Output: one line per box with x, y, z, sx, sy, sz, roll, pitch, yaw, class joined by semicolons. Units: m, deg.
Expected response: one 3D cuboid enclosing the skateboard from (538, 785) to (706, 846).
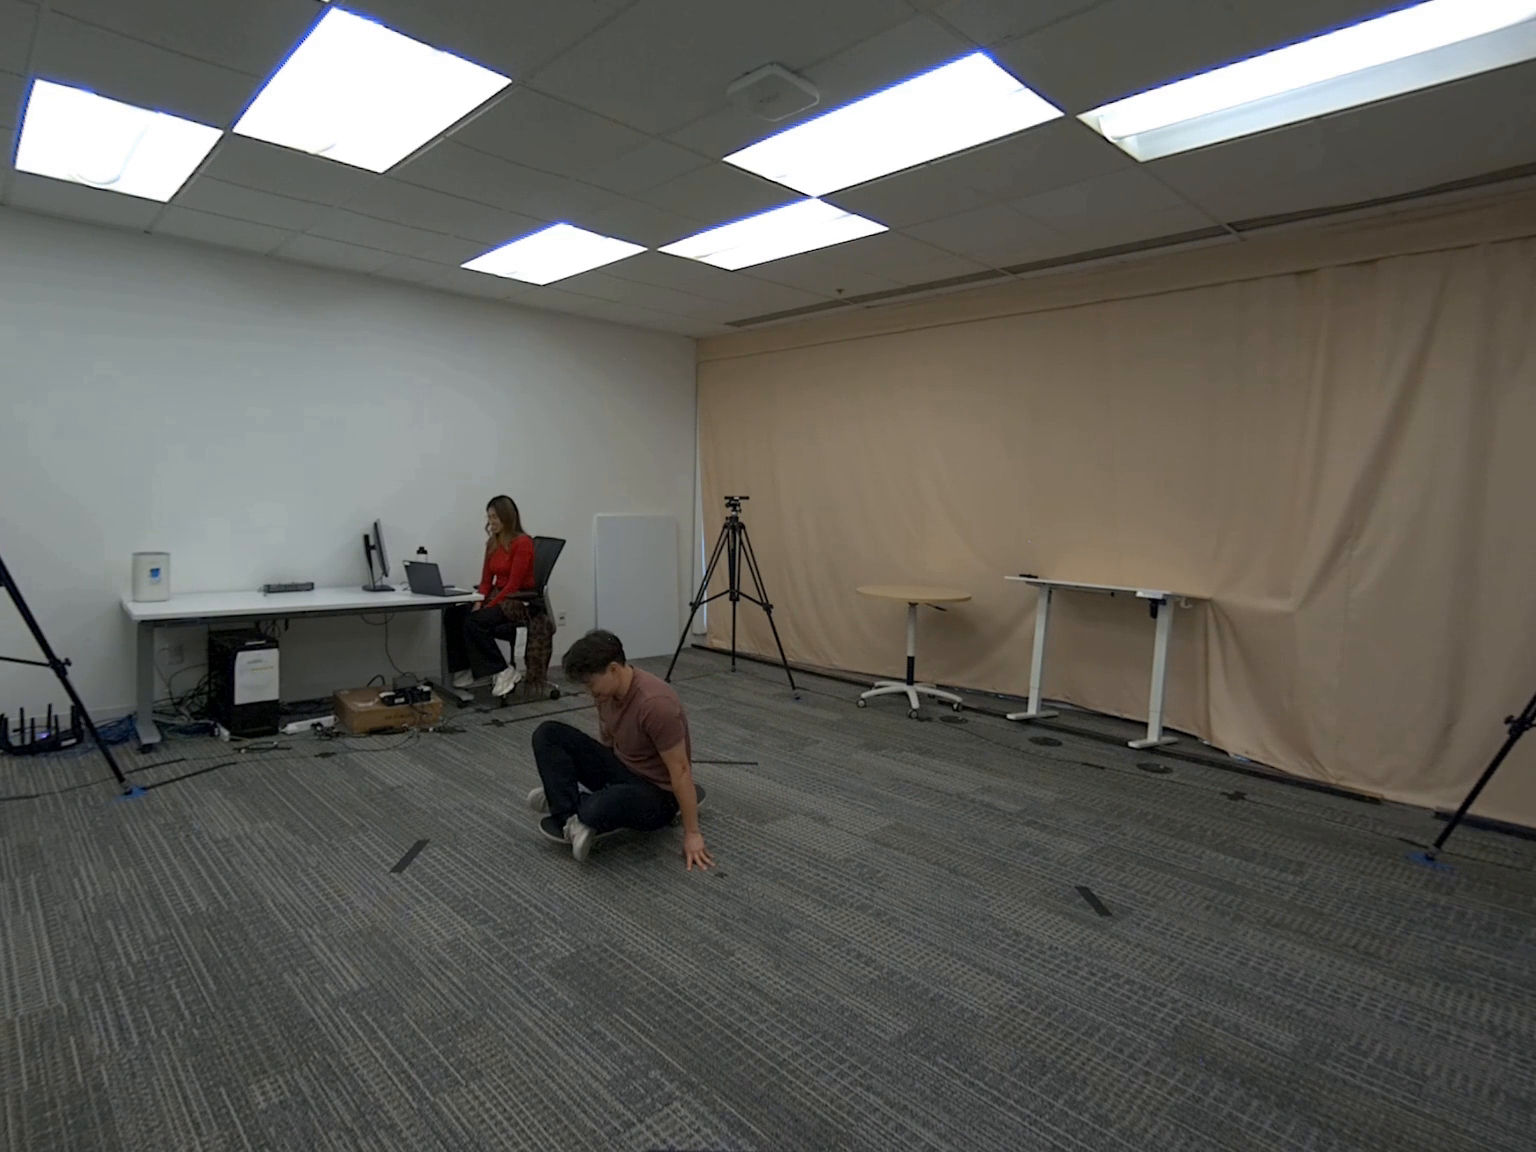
-0.606;1.000;3.504;0.767;0.109;0.199;-1;18;-37;skateboard
